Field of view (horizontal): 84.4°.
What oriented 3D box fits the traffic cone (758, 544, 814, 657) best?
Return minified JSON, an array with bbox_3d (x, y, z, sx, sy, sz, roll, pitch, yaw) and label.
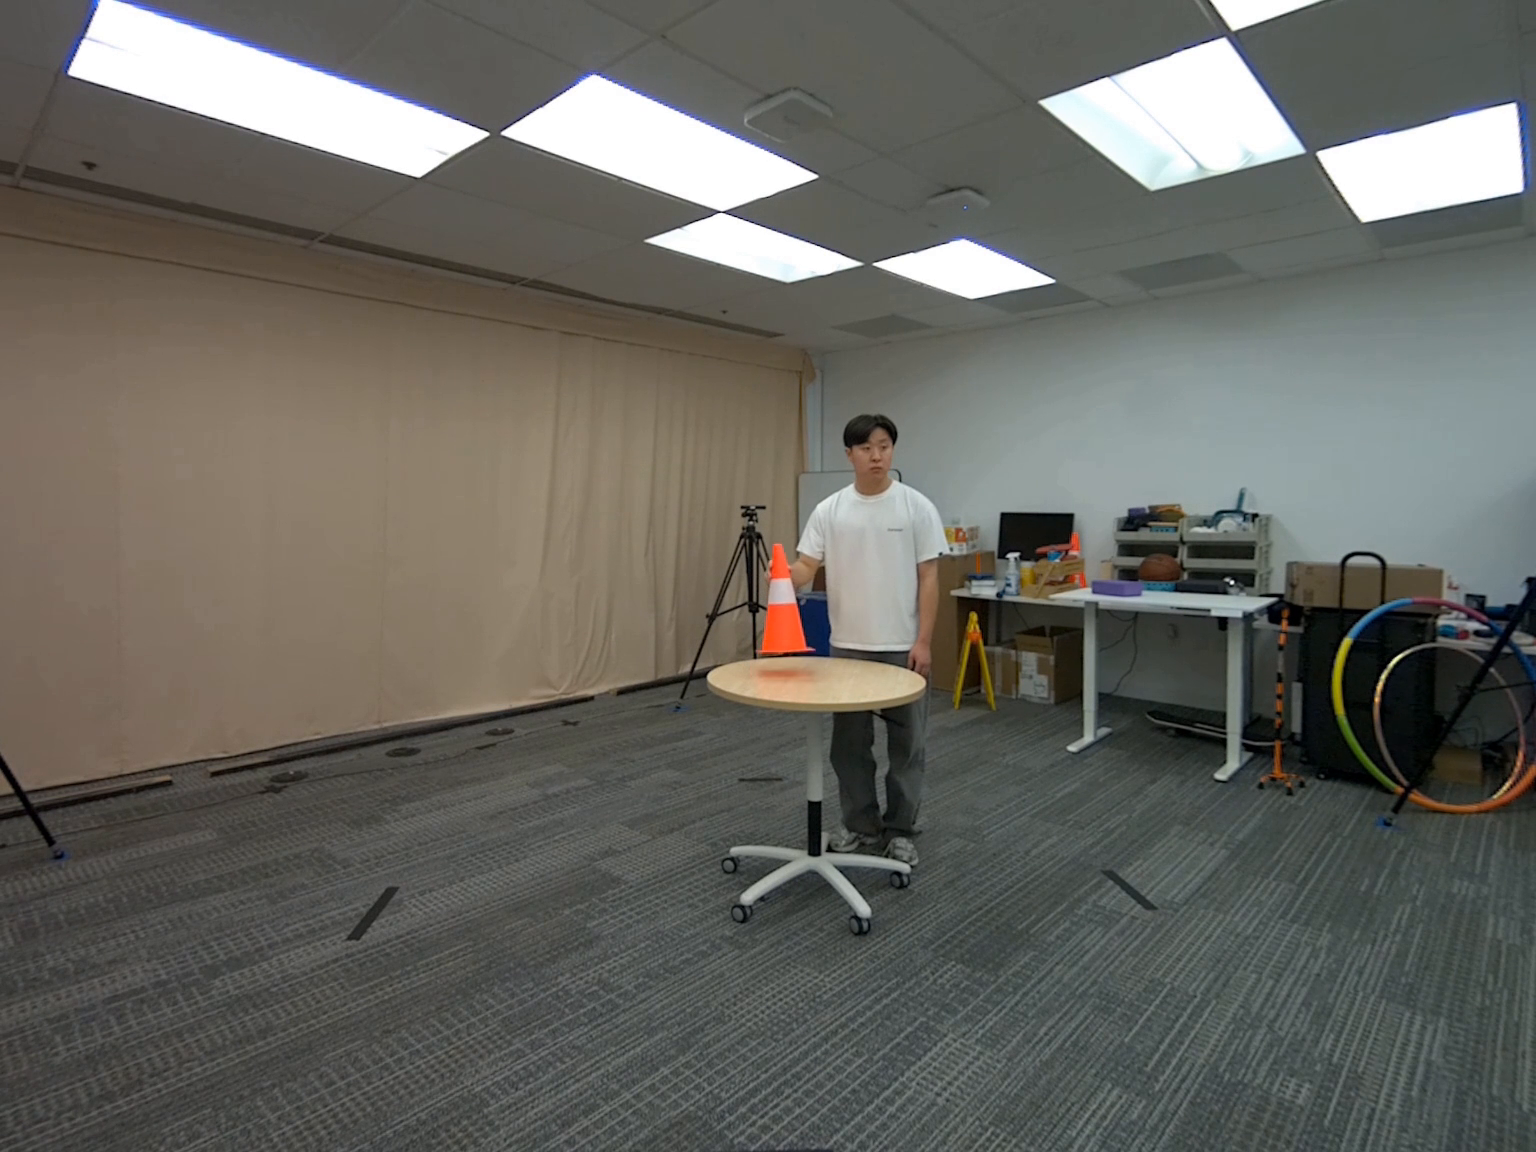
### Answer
[{"bbox_3d":[0.056,0.087,3.034,0.205,0.384,0.203,-4,-2,-2],"label":"traffic cone"}]
